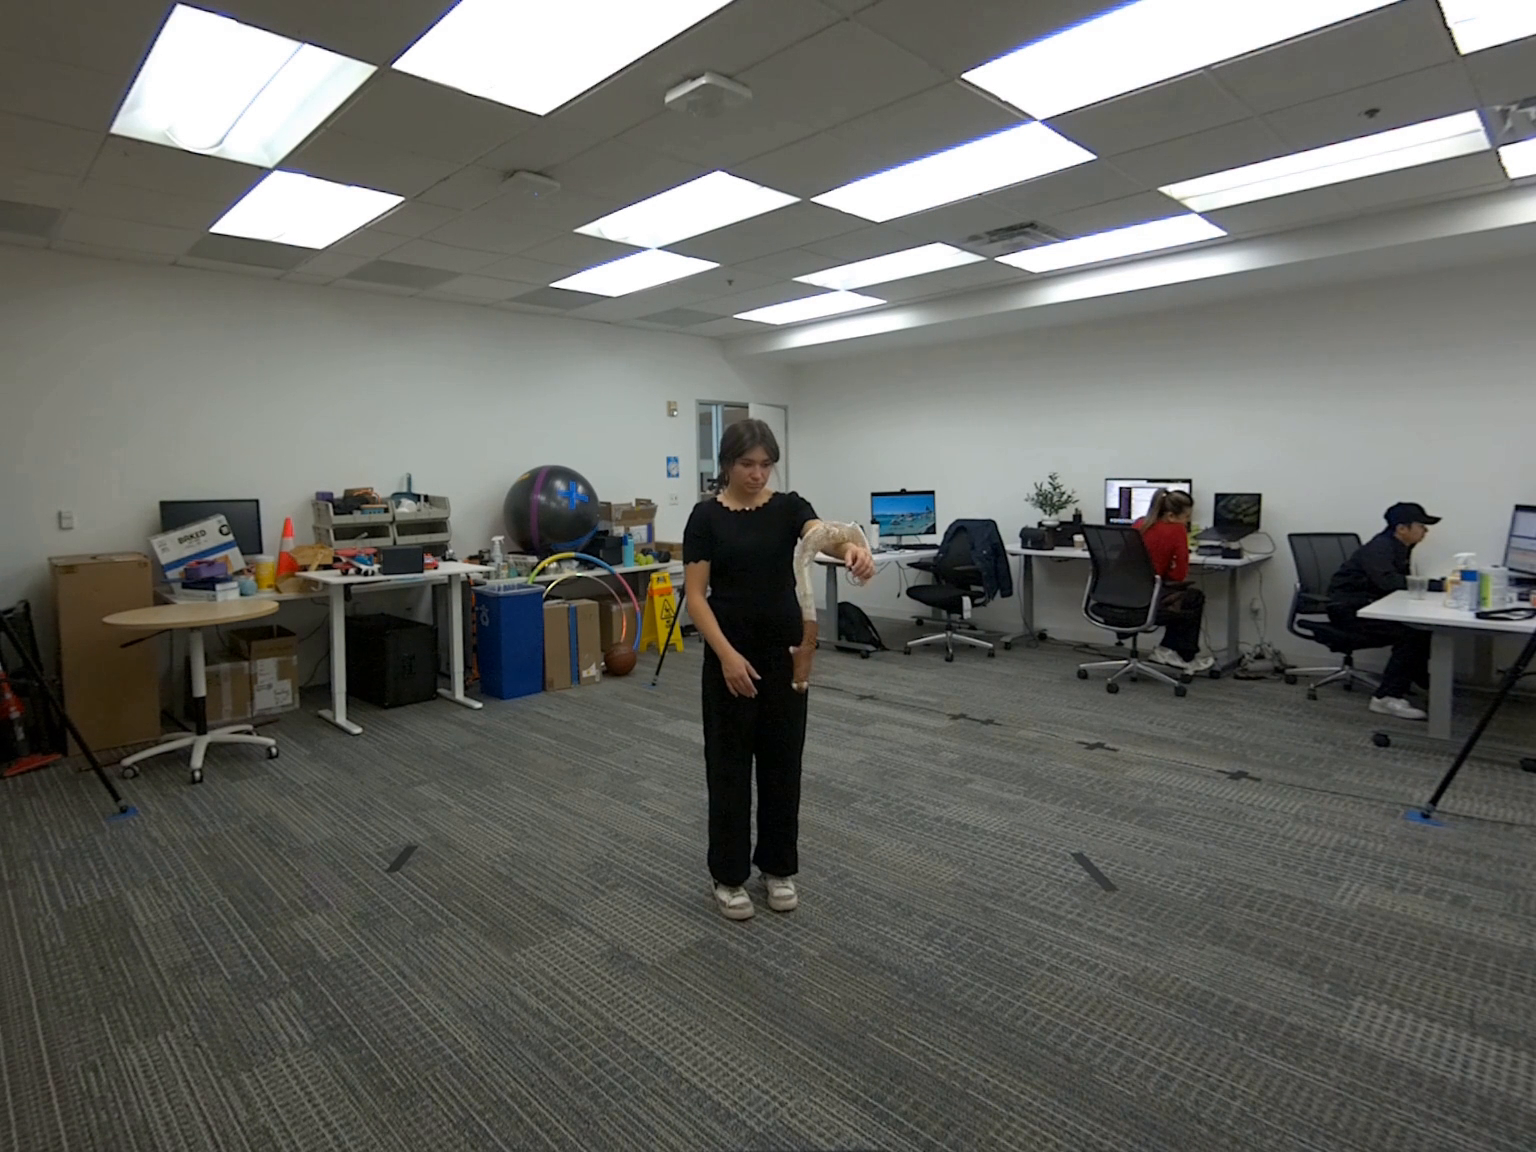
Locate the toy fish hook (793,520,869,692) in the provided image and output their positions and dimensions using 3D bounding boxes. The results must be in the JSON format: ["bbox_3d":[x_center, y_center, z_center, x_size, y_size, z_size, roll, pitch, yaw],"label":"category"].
[{"bbox_3d":[0.182,0.087,2.386,0.229,0.514,0.046,0,-22,21],"label":"toy fish hook"}]
